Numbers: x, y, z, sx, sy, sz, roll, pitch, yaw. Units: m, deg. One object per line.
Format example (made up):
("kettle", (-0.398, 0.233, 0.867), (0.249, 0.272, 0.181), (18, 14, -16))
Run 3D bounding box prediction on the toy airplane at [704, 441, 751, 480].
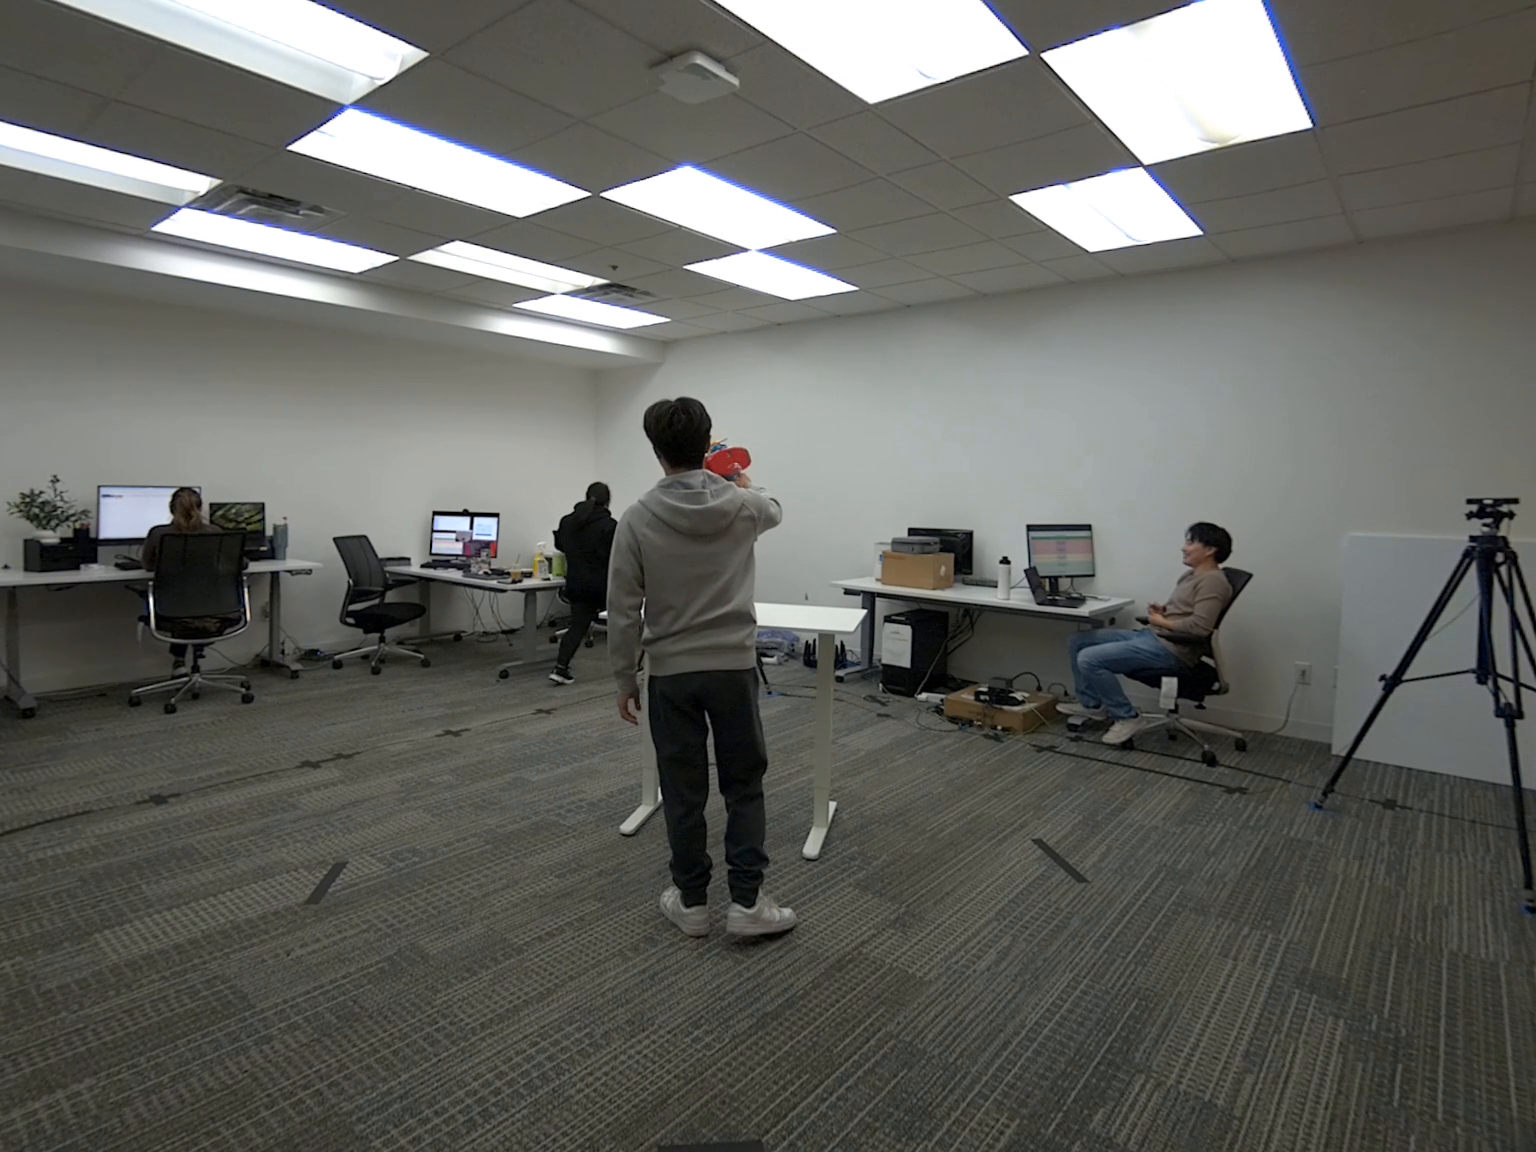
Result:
("toy airplane", (-0.168, -0.390, 3.239), (0.157, 0.254, 0.254), (-38, 18, 40))
